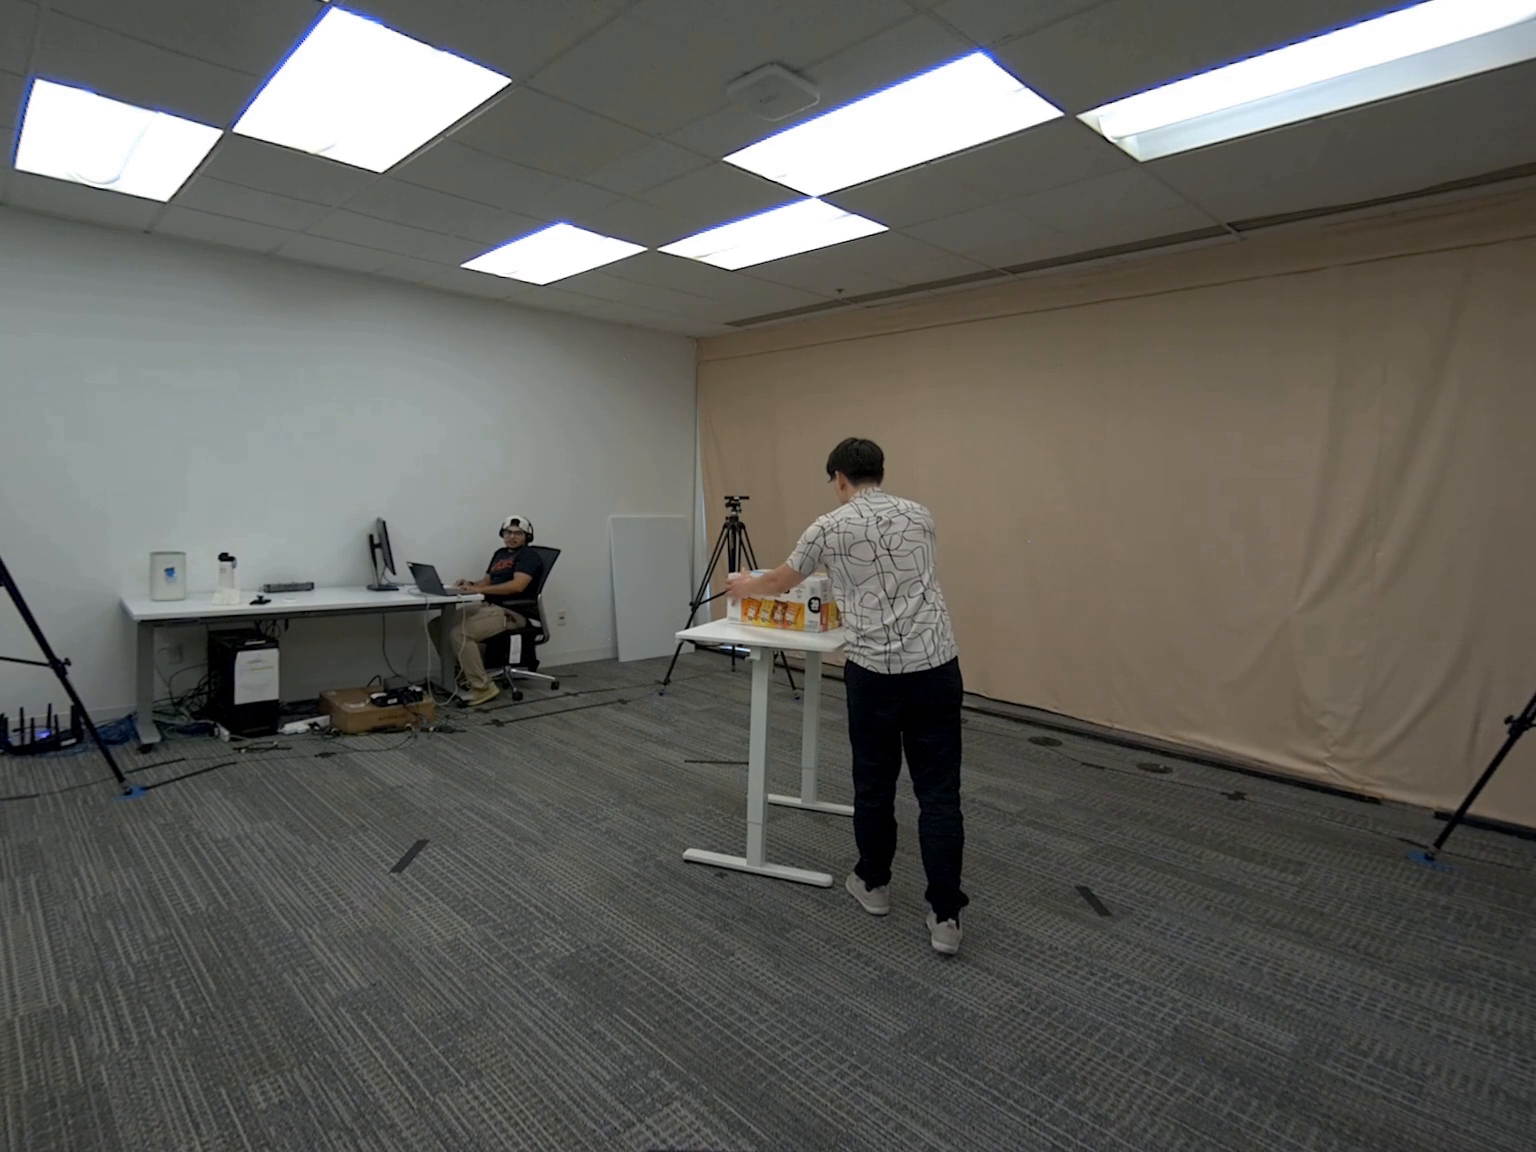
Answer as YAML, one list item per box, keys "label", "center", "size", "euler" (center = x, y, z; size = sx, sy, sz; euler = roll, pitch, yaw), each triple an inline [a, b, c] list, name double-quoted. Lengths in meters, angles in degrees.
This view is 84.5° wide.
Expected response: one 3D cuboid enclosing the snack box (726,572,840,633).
- label: "snack box"
  center: [0.088, 0.095, 3.450]
  size: [0.413, 0.205, 0.334]
  euler: [4, 4, 27]
